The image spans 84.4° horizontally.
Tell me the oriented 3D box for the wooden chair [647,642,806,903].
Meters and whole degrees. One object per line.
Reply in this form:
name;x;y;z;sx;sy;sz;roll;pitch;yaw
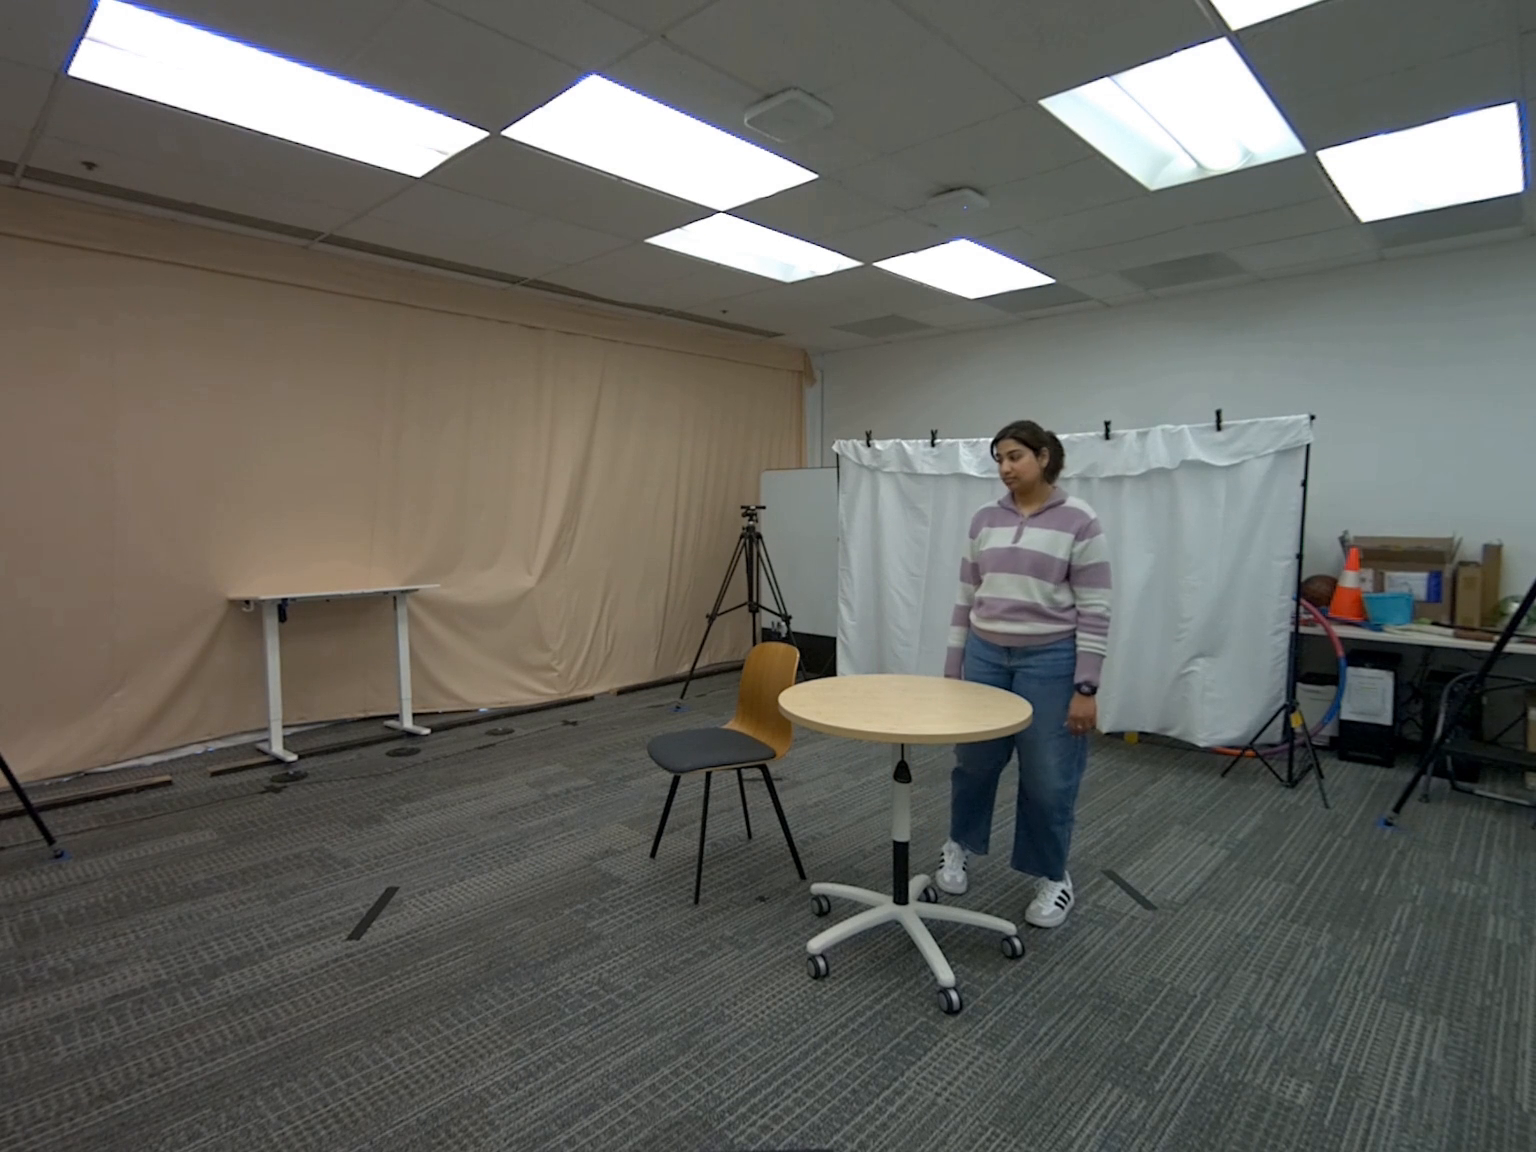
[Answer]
wooden chair;-0.171;0.700;3.205;0.509;0.876;0.491;2;2;-27
